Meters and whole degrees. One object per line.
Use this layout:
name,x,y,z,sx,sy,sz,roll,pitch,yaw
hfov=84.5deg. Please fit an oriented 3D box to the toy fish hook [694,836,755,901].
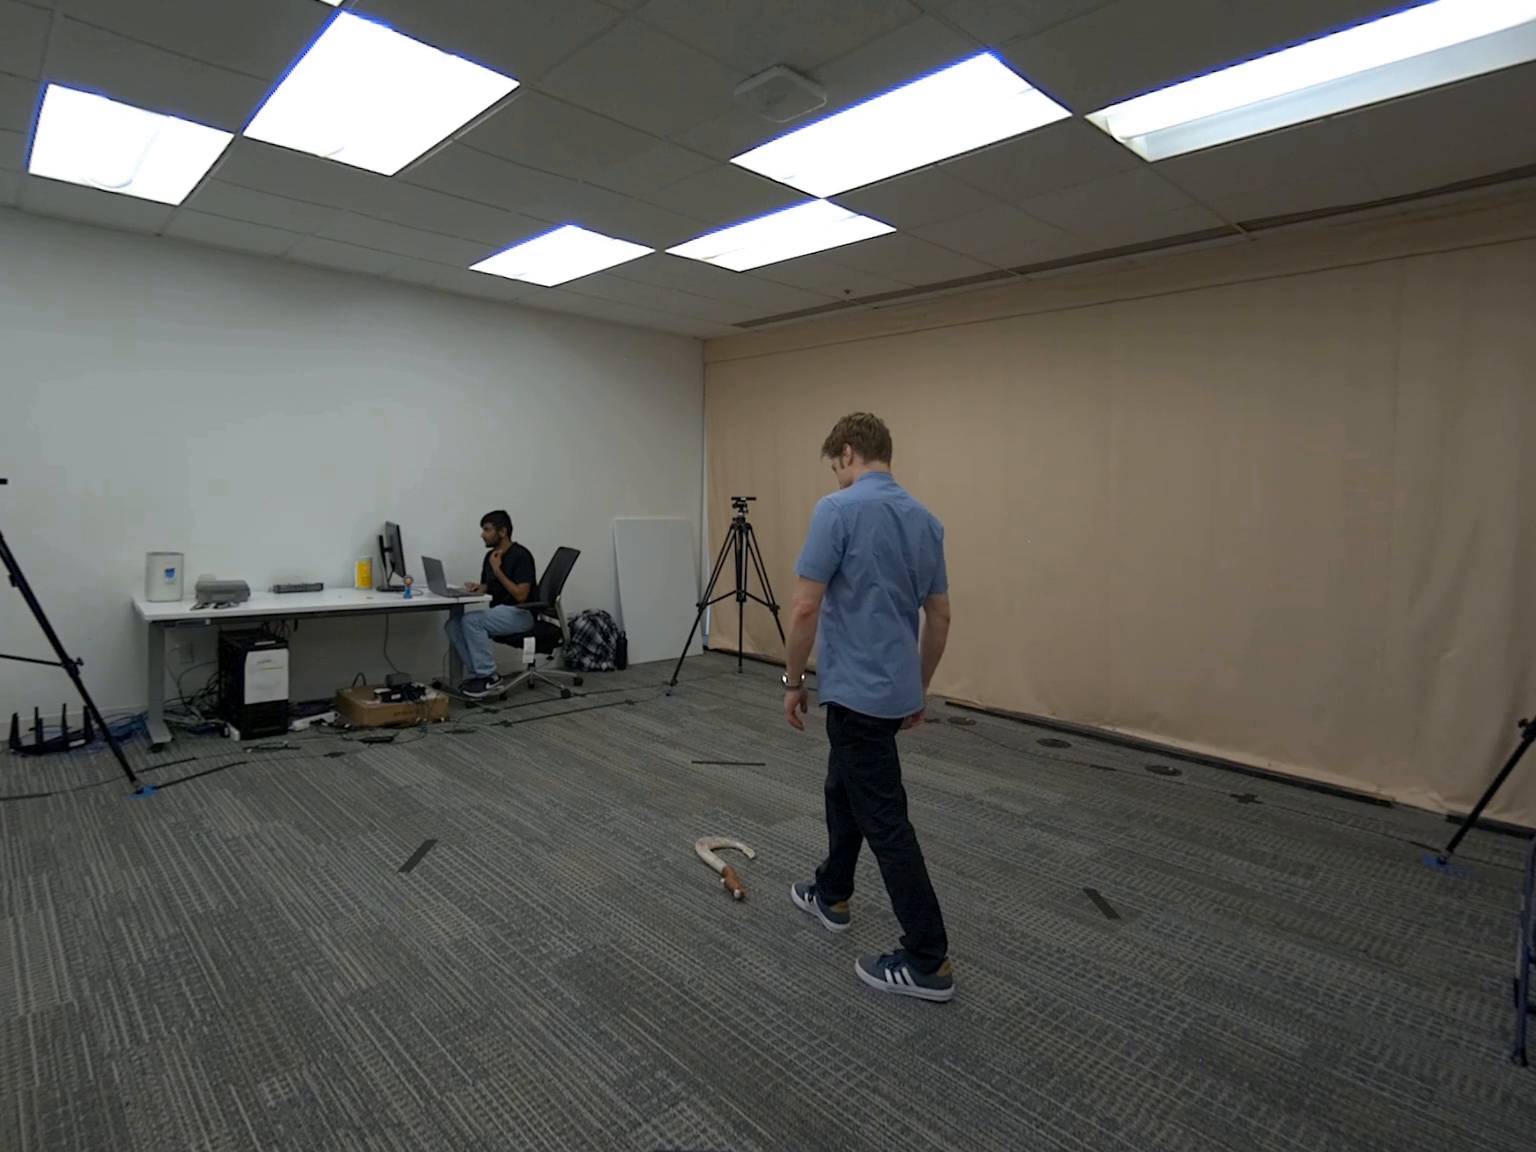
toy fish hook,-0.133,1.081,3.149,0.222,0.048,0.515,0,6,-18
